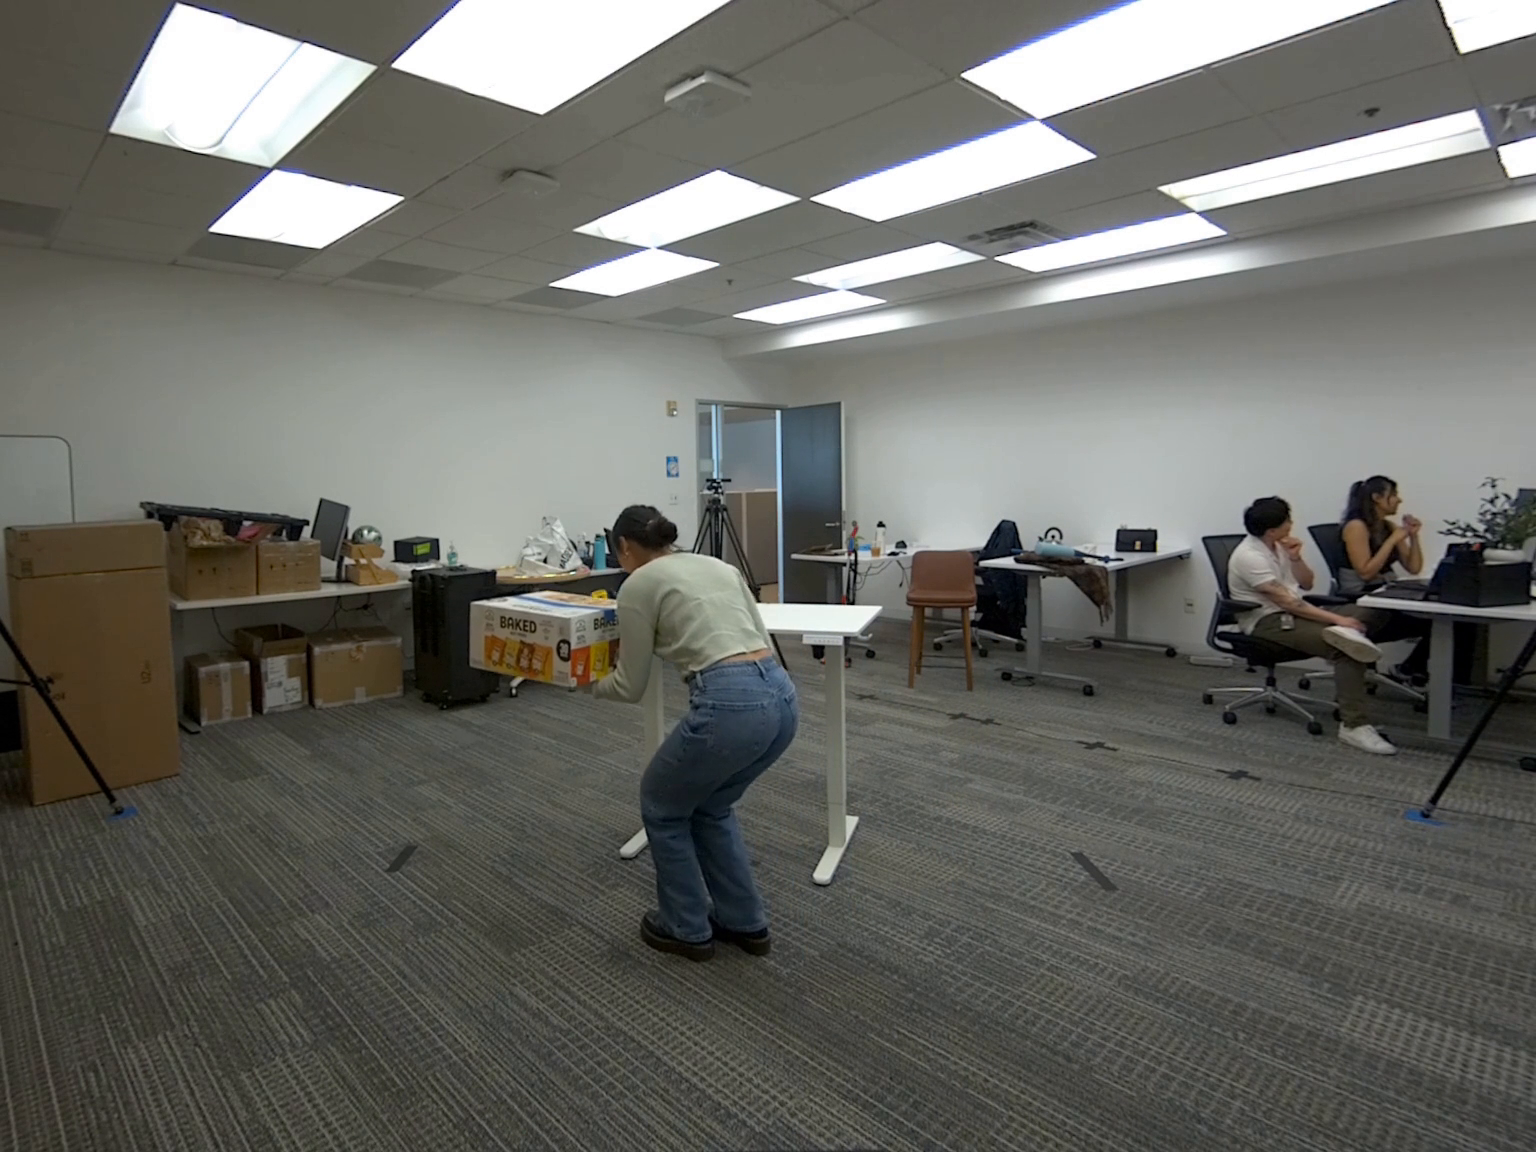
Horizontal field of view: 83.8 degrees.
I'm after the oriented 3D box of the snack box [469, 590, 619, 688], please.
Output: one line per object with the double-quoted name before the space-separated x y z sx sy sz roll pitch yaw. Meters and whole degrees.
"snack box" -0.647 0.183 2.643 0.416 0.205 0.332 5 7 30
